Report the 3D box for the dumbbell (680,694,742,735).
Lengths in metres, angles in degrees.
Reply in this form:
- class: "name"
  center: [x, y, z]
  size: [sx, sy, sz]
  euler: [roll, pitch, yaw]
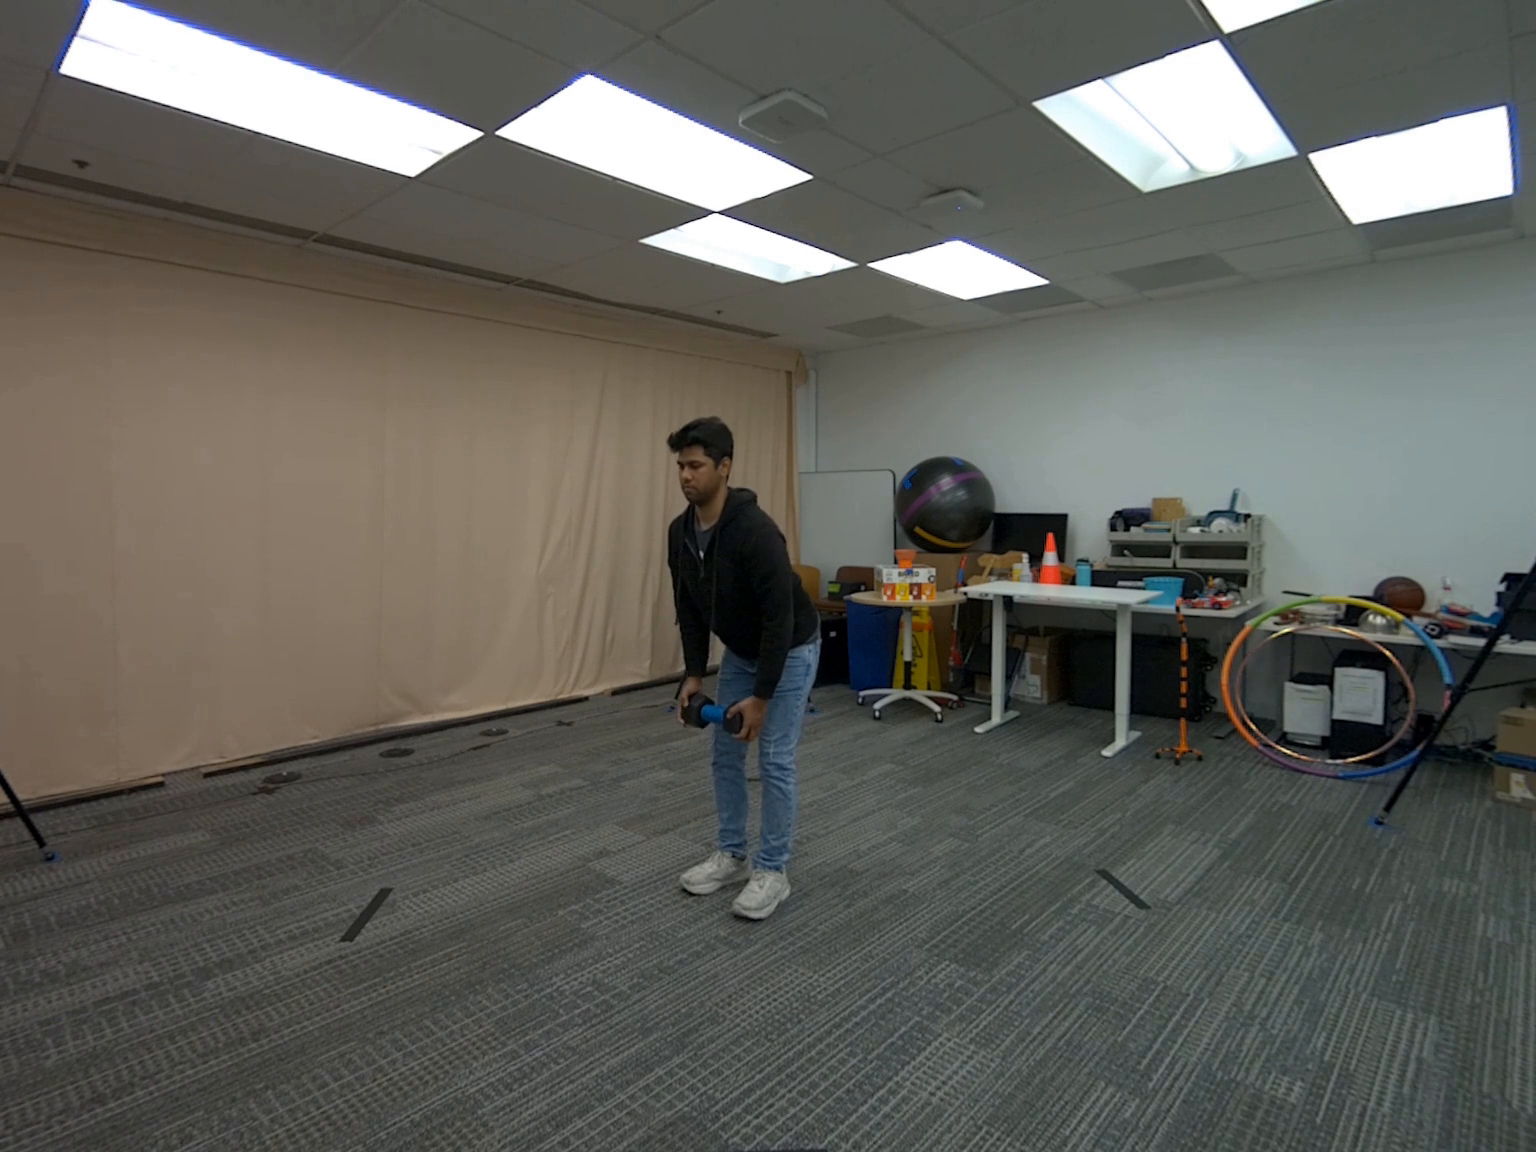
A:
- class: "dumbbell"
  center: [-0.157, 0.491, 2.936]
  size: [0.303, 0.109, 0.118]
  euler: [2, -28, 46]
